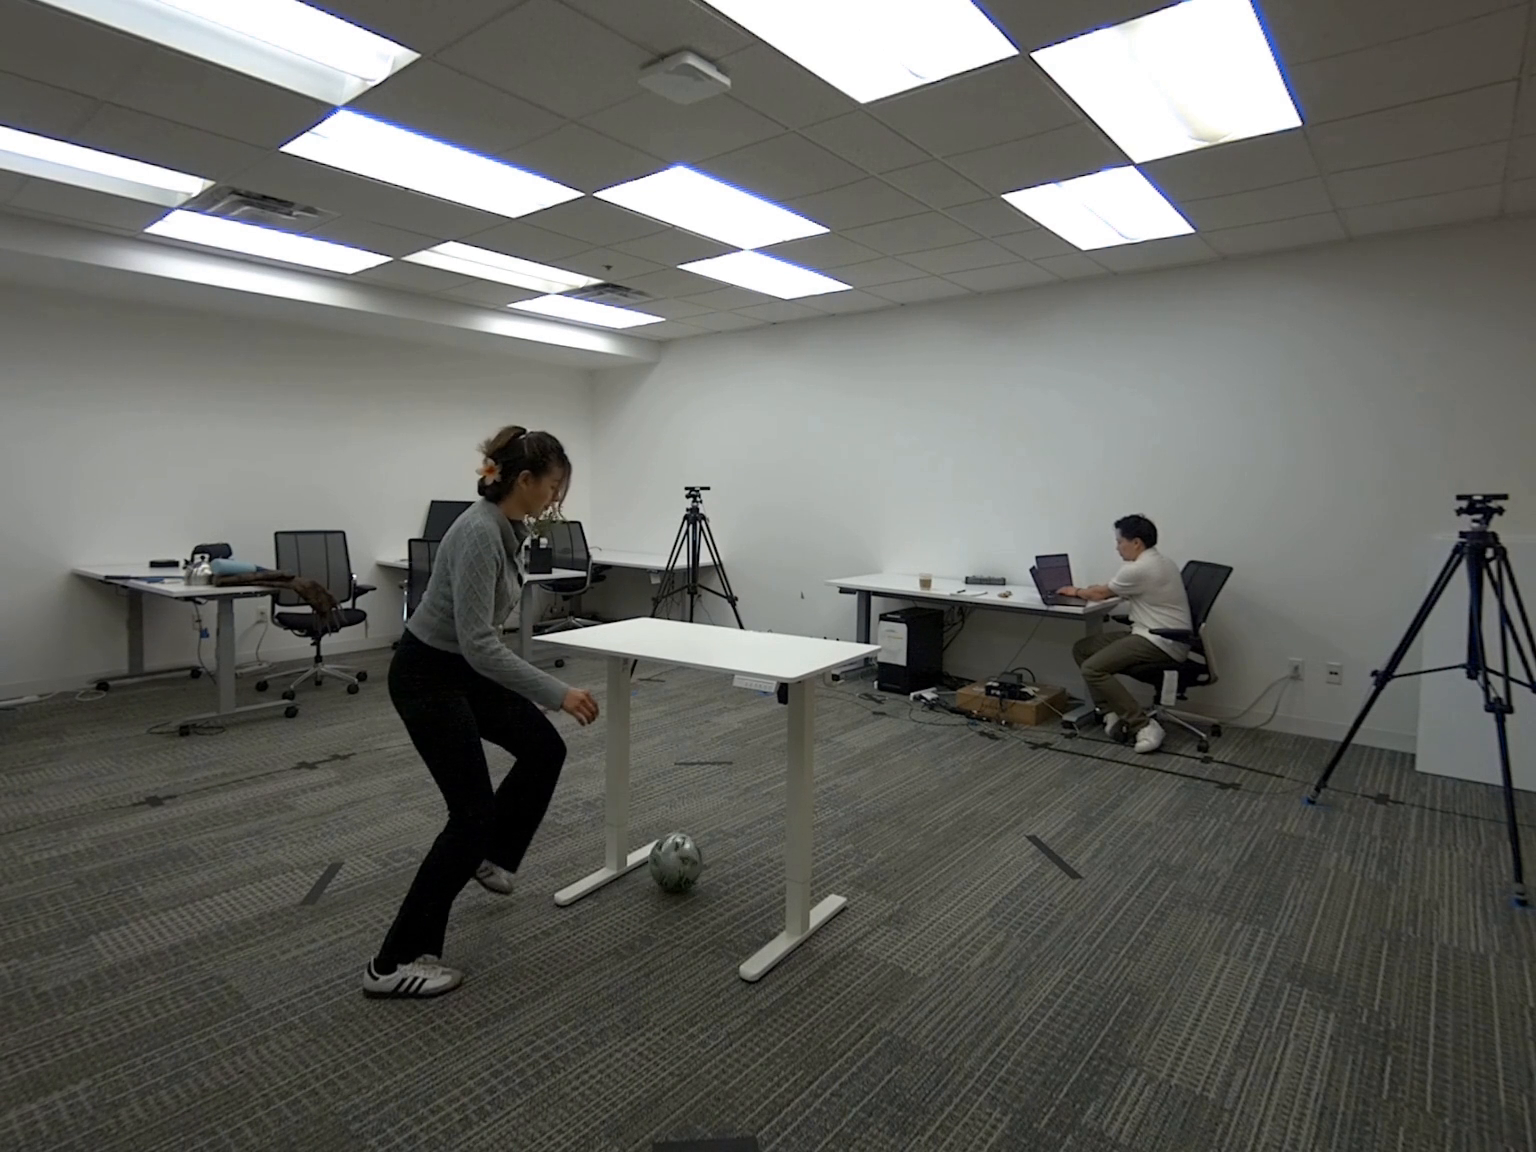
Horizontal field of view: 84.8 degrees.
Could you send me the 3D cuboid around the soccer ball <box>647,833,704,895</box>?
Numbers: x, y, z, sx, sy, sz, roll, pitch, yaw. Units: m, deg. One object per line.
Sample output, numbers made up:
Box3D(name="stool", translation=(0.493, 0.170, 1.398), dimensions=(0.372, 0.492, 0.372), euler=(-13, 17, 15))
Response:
Box3D(name="soccer ball", translation=(-0.322, 0.985, 2.936), dimensions=(0.187, 0.187, 0.188), euler=(0, 4, -2))
